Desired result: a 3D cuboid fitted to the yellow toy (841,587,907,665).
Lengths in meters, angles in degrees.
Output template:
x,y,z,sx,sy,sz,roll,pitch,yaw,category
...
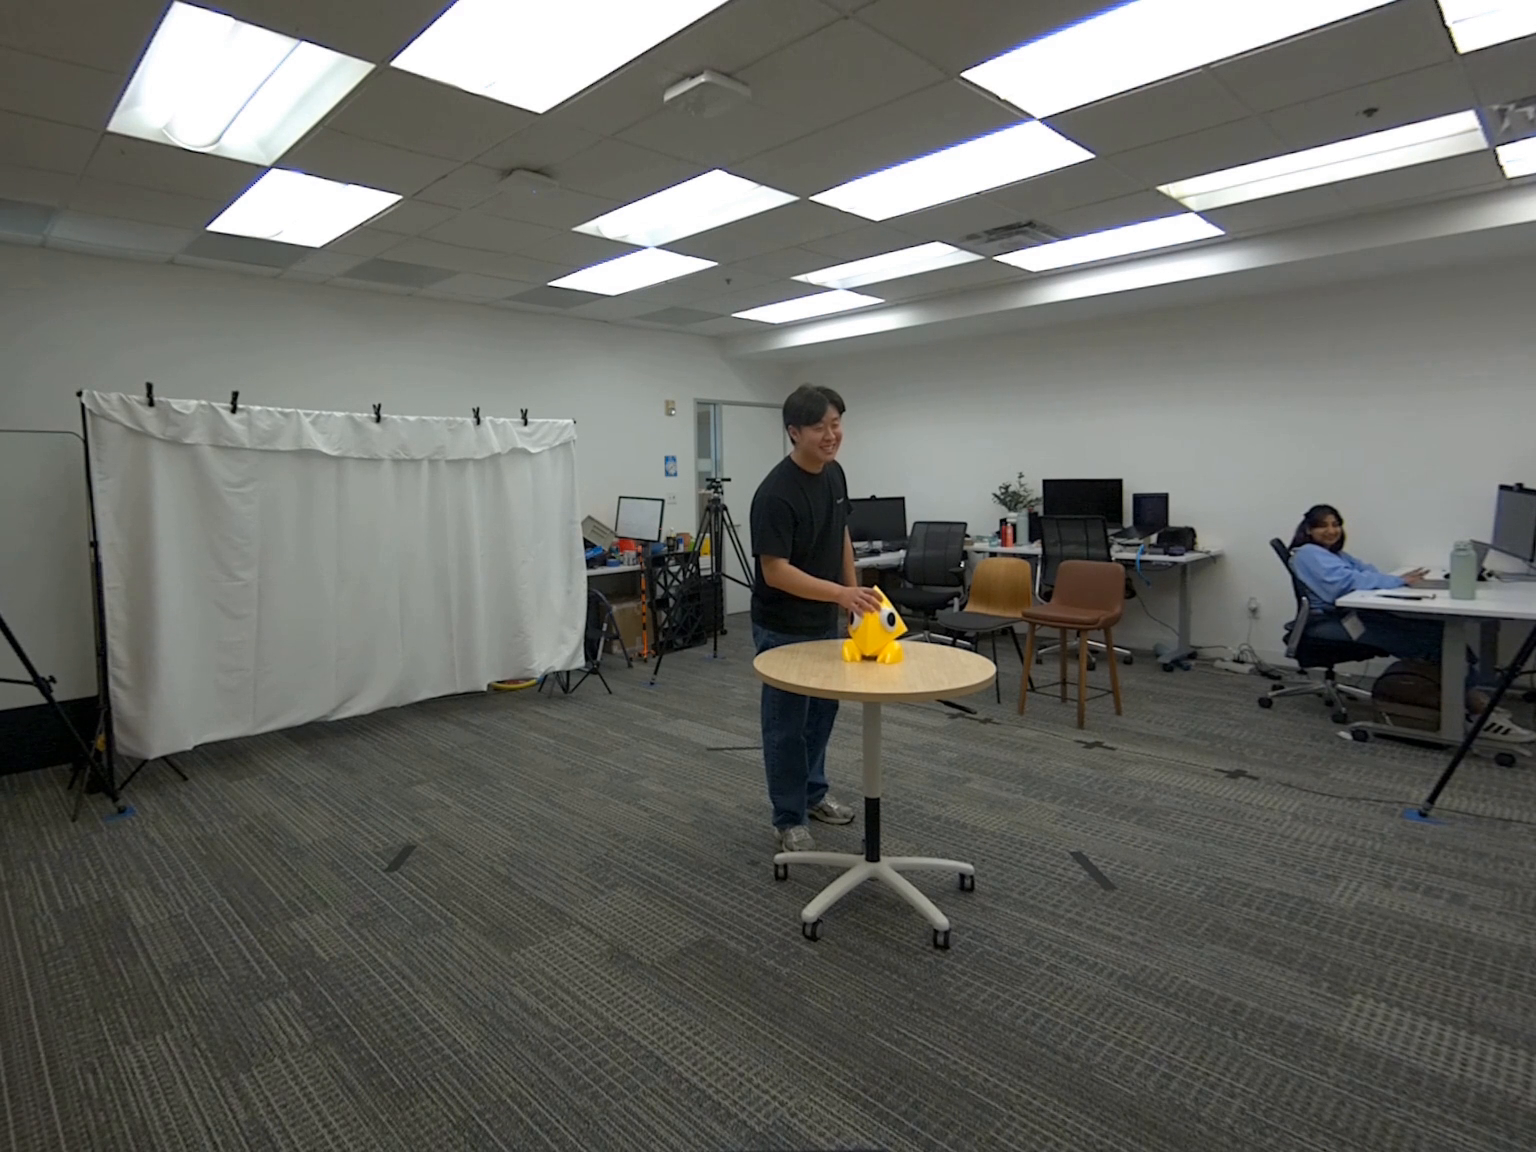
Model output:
x,y,z,sx,sy,sz,roll,pitch,yaw,category
0.347,0.157,2.825,0.209,0.230,0.190,1,5,19,yellow toy
